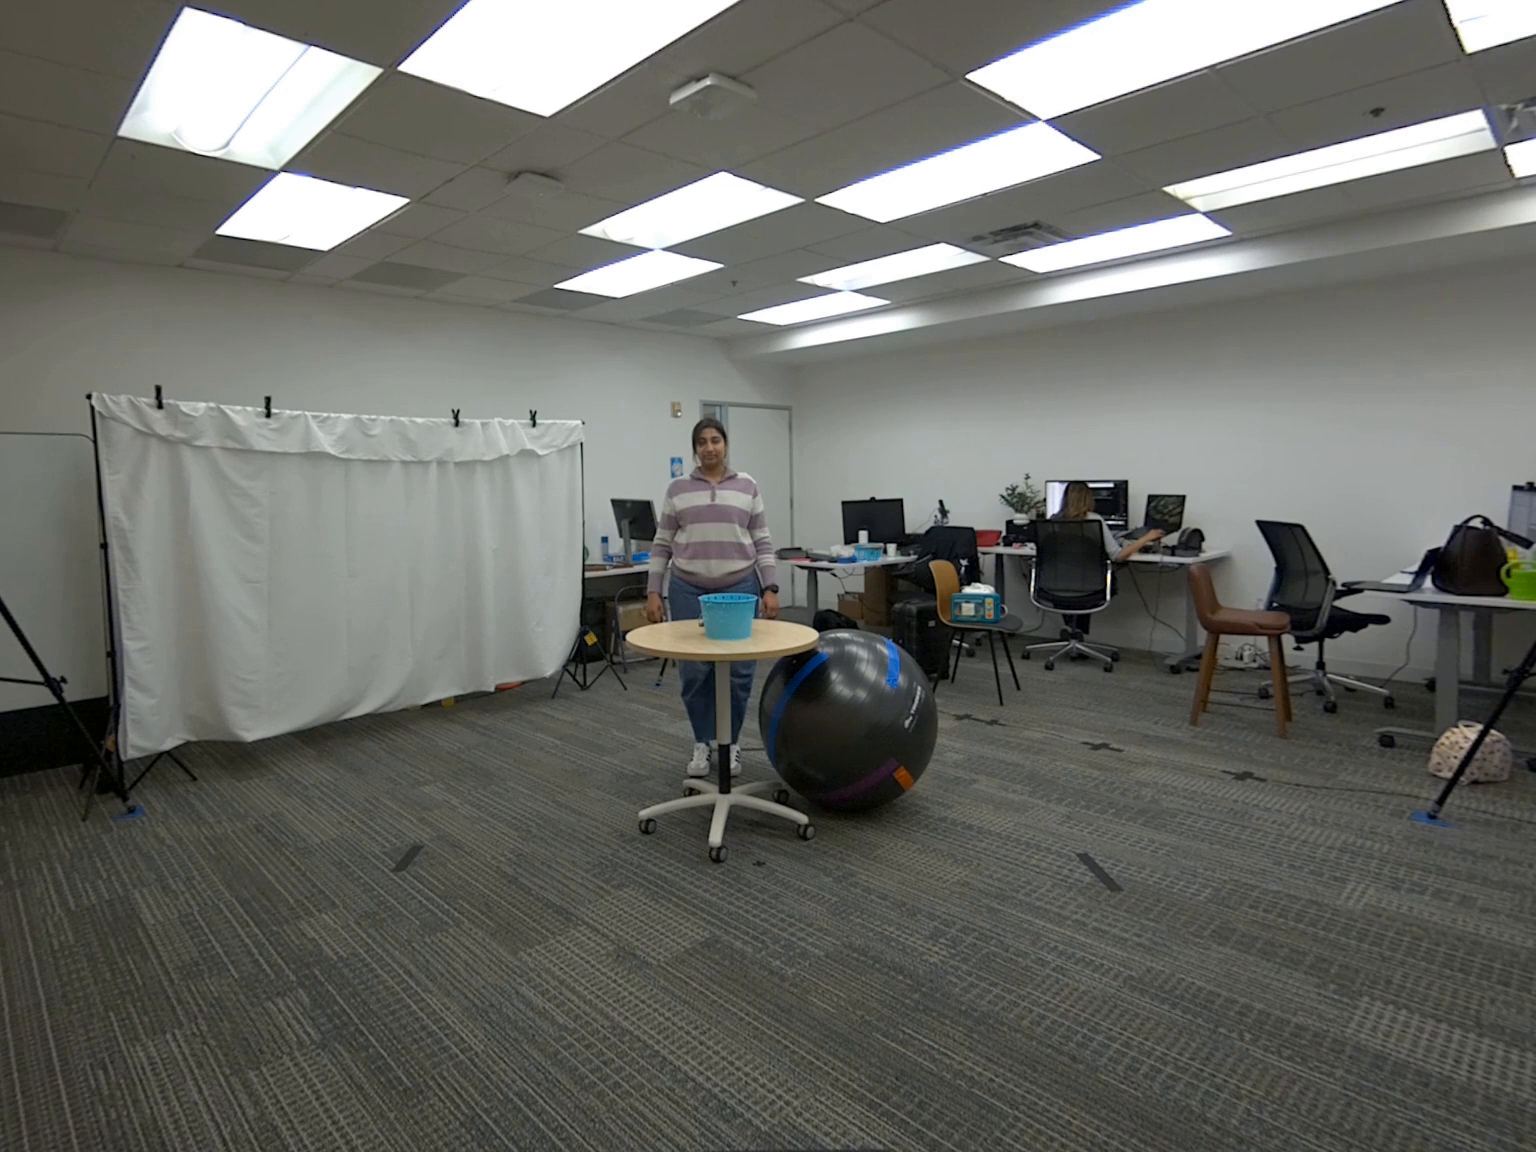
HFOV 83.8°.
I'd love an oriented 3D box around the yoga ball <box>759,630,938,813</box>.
[{"bbox_3d":[0.350,0.611,3.653,0.757,0.755,0.762,-1,5,-2],"label":"yoga ball"}]
